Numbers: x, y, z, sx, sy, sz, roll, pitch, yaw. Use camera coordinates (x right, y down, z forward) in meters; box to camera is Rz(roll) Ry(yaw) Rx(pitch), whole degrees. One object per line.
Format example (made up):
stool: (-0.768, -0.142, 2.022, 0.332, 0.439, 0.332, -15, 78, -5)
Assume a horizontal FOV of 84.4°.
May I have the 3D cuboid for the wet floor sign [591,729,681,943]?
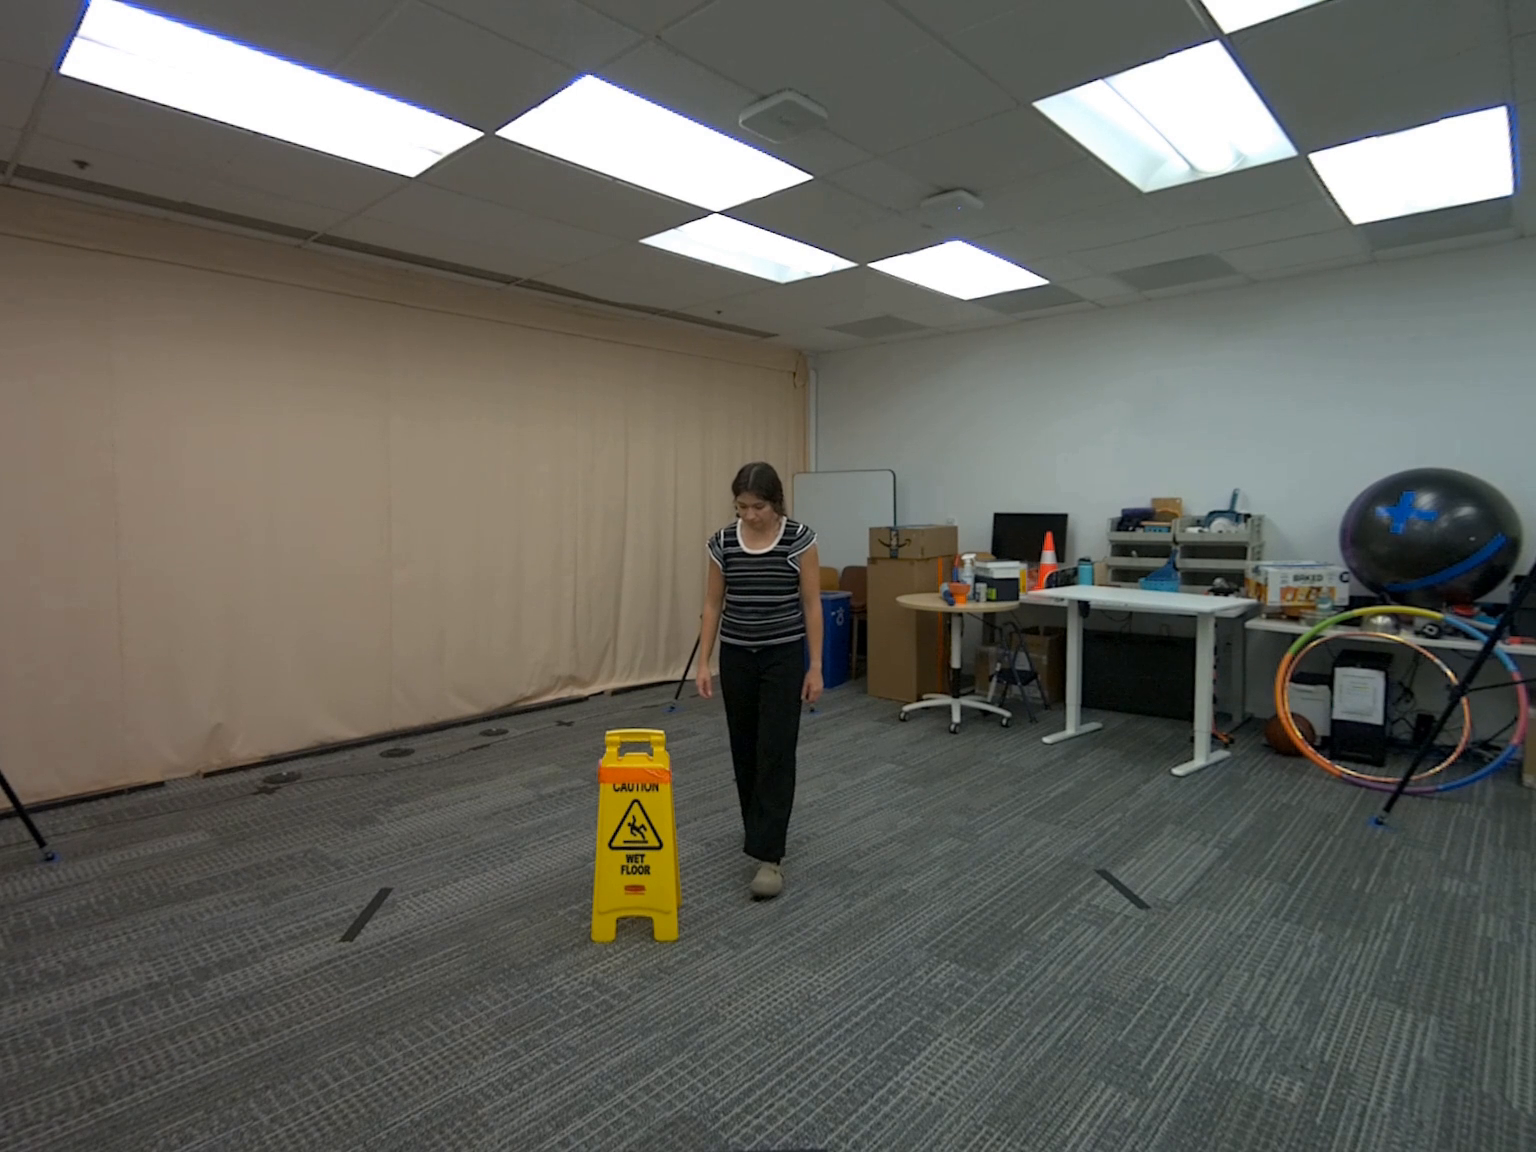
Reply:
wet floor sign: (-0.435, 0.840, 2.806, 0.282, 0.645, 0.290, 1, 2, -1)
